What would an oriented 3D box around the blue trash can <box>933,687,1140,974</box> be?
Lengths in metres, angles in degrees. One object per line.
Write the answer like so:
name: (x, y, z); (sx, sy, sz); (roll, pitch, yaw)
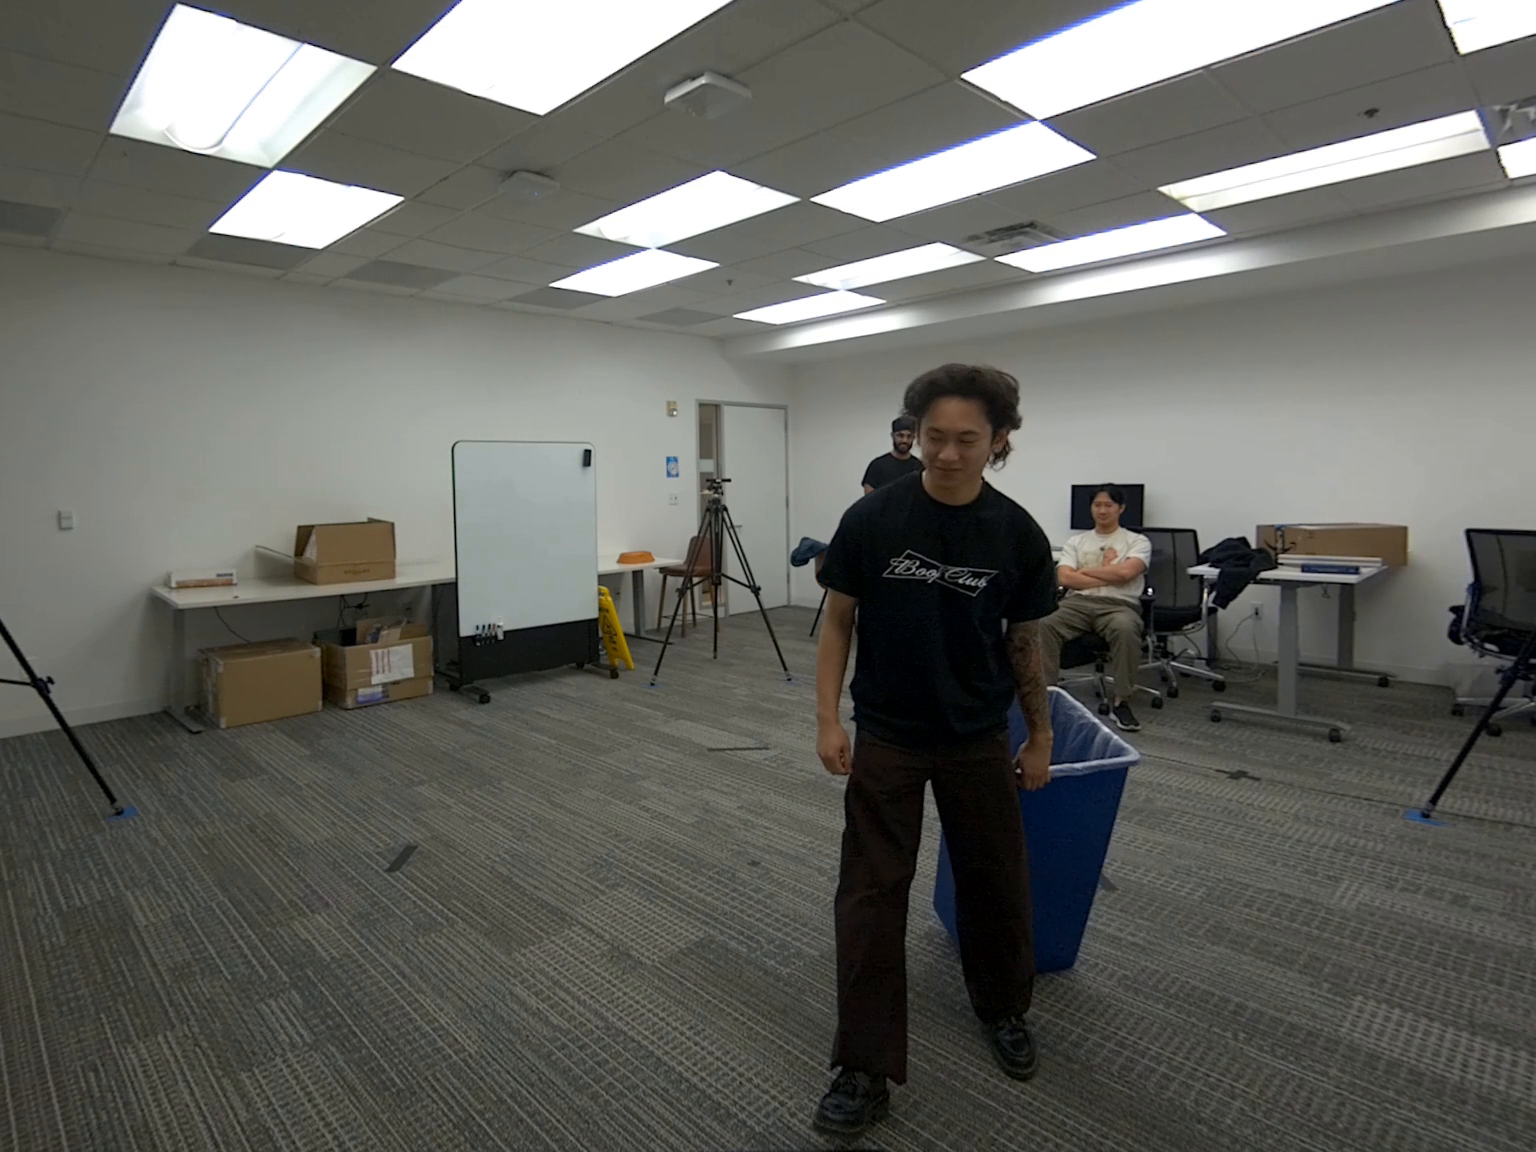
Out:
blue trash can: (0.702, 0.729, 2.389); (0.369, 0.702, 0.389); (-2, 21, -16)
